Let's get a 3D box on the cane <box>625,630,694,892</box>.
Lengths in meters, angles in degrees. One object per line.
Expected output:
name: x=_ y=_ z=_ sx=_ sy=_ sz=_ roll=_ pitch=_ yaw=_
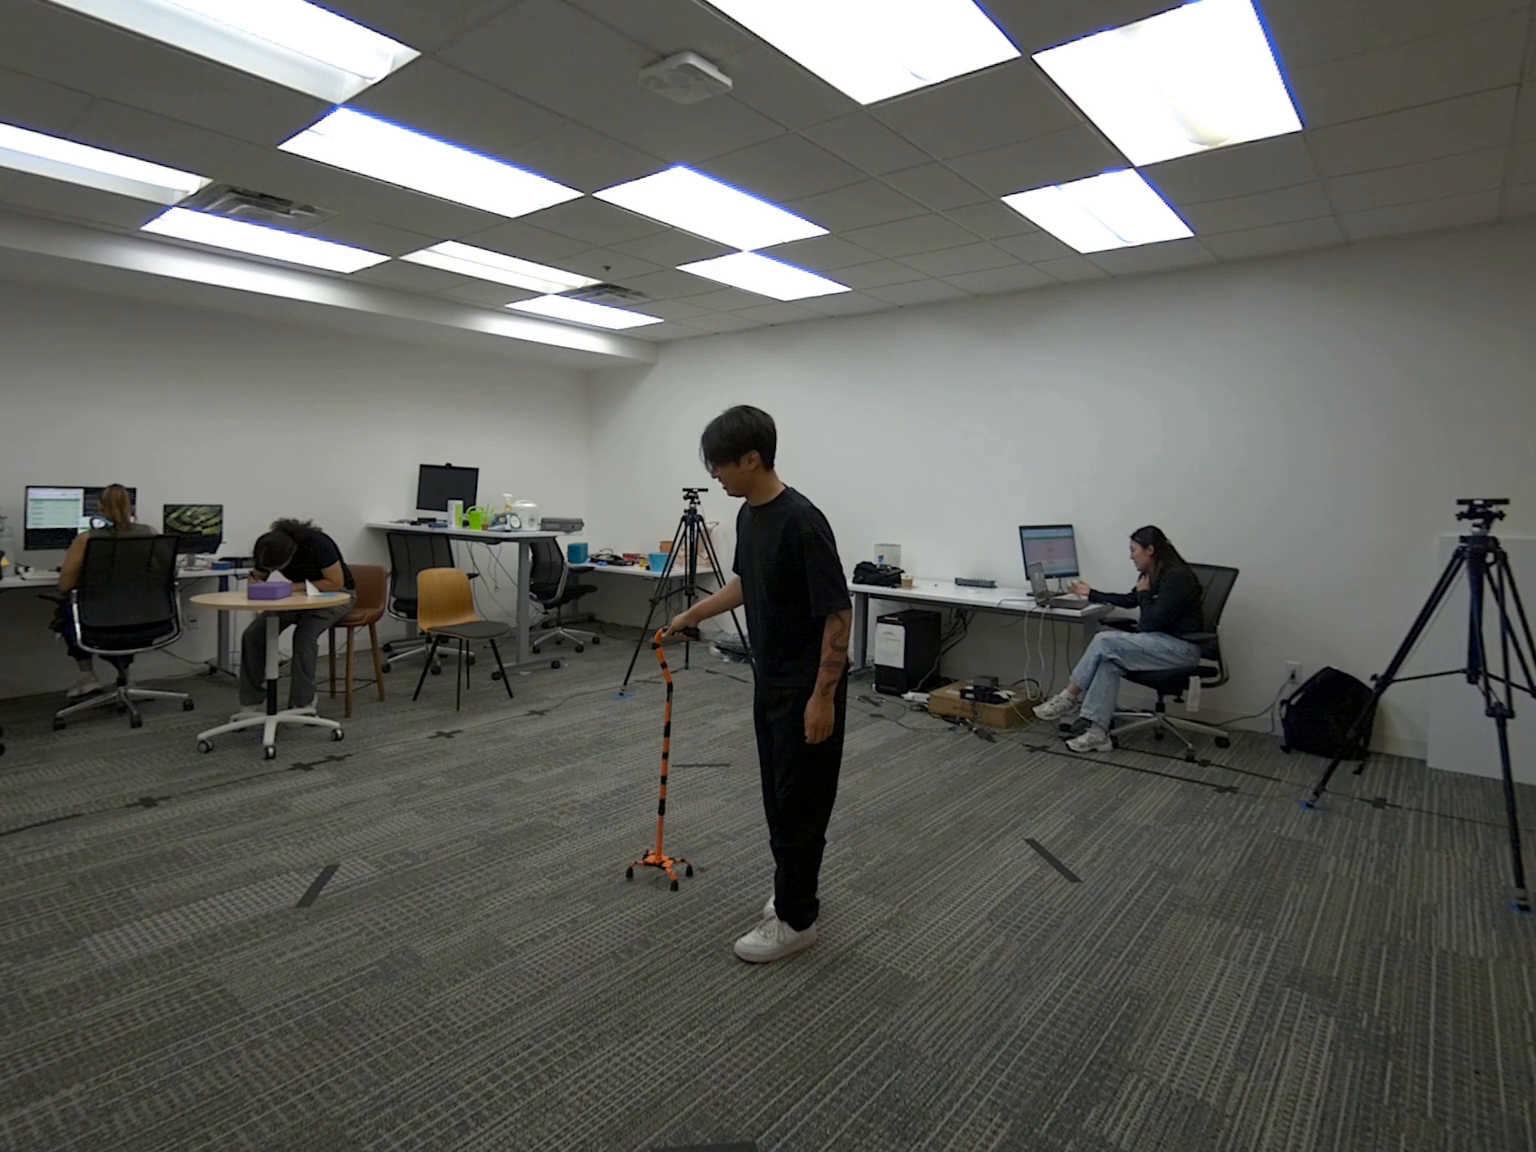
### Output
cane: x=-0.365 y=0.622 z=2.989 sx=0.211 sy=0.904 sz=0.149 roll=6 pitch=5 yaw=18
